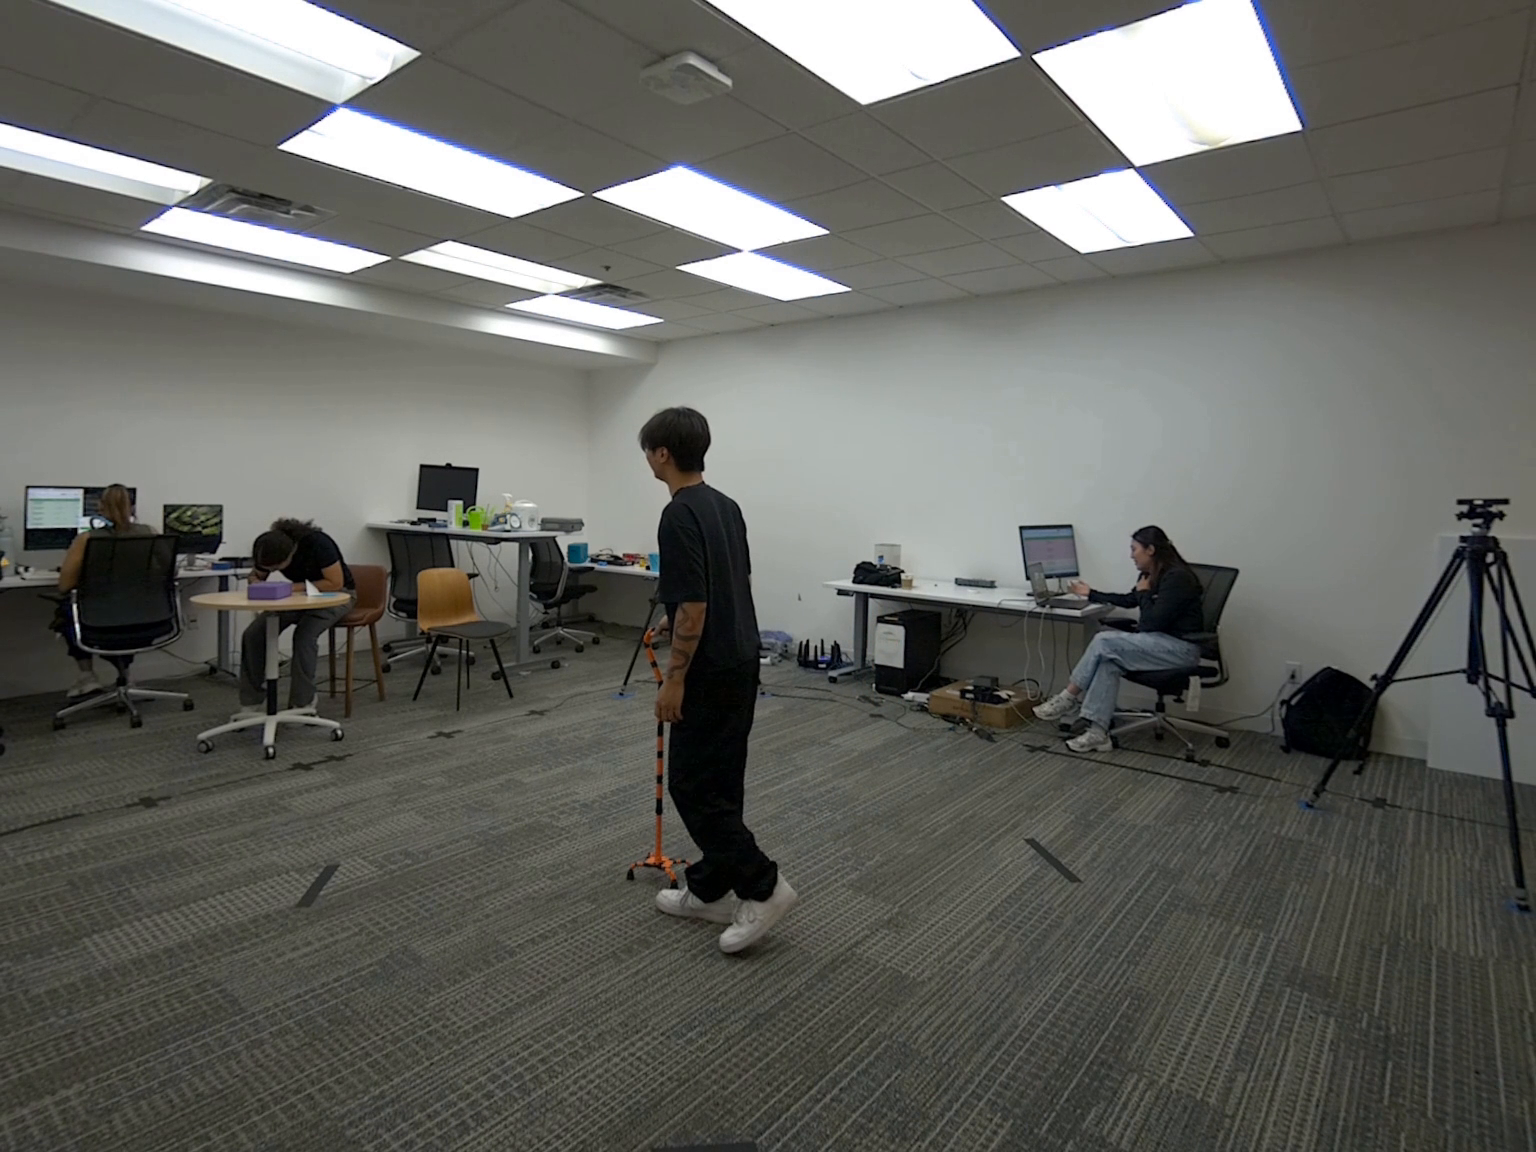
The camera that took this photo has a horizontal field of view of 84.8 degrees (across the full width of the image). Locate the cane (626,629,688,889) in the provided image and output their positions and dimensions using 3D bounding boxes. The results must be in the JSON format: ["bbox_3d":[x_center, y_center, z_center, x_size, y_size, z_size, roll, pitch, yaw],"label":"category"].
[{"bbox_3d":[-0.389,0.626,3.028,0.211,0.906,0.148,2,2,22],"label":"cane"}]
